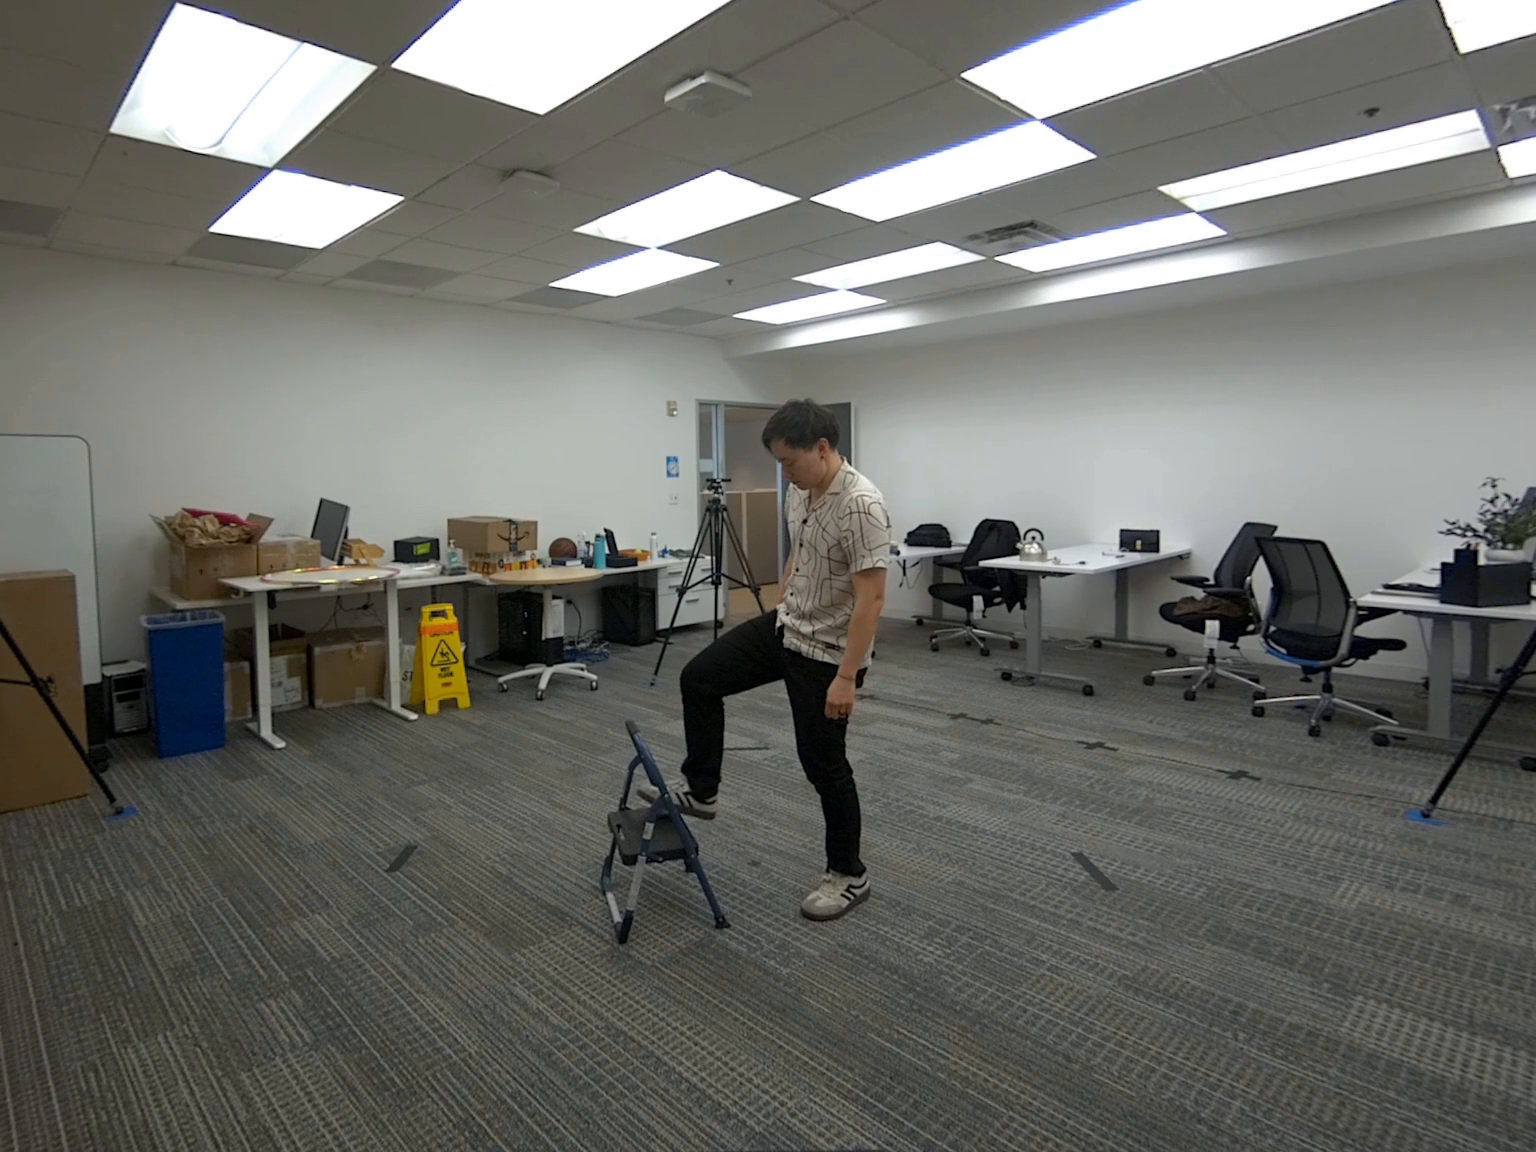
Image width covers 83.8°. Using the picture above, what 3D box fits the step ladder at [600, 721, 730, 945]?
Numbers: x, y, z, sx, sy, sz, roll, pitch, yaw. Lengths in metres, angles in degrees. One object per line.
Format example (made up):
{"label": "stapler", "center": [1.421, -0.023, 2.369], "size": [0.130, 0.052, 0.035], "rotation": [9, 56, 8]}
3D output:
{"label": "step ladder", "center": [-0.355, 0.782, 2.800], "size": [0.344, 0.603, 0.439], "rotation": [-3, 5, -19]}
